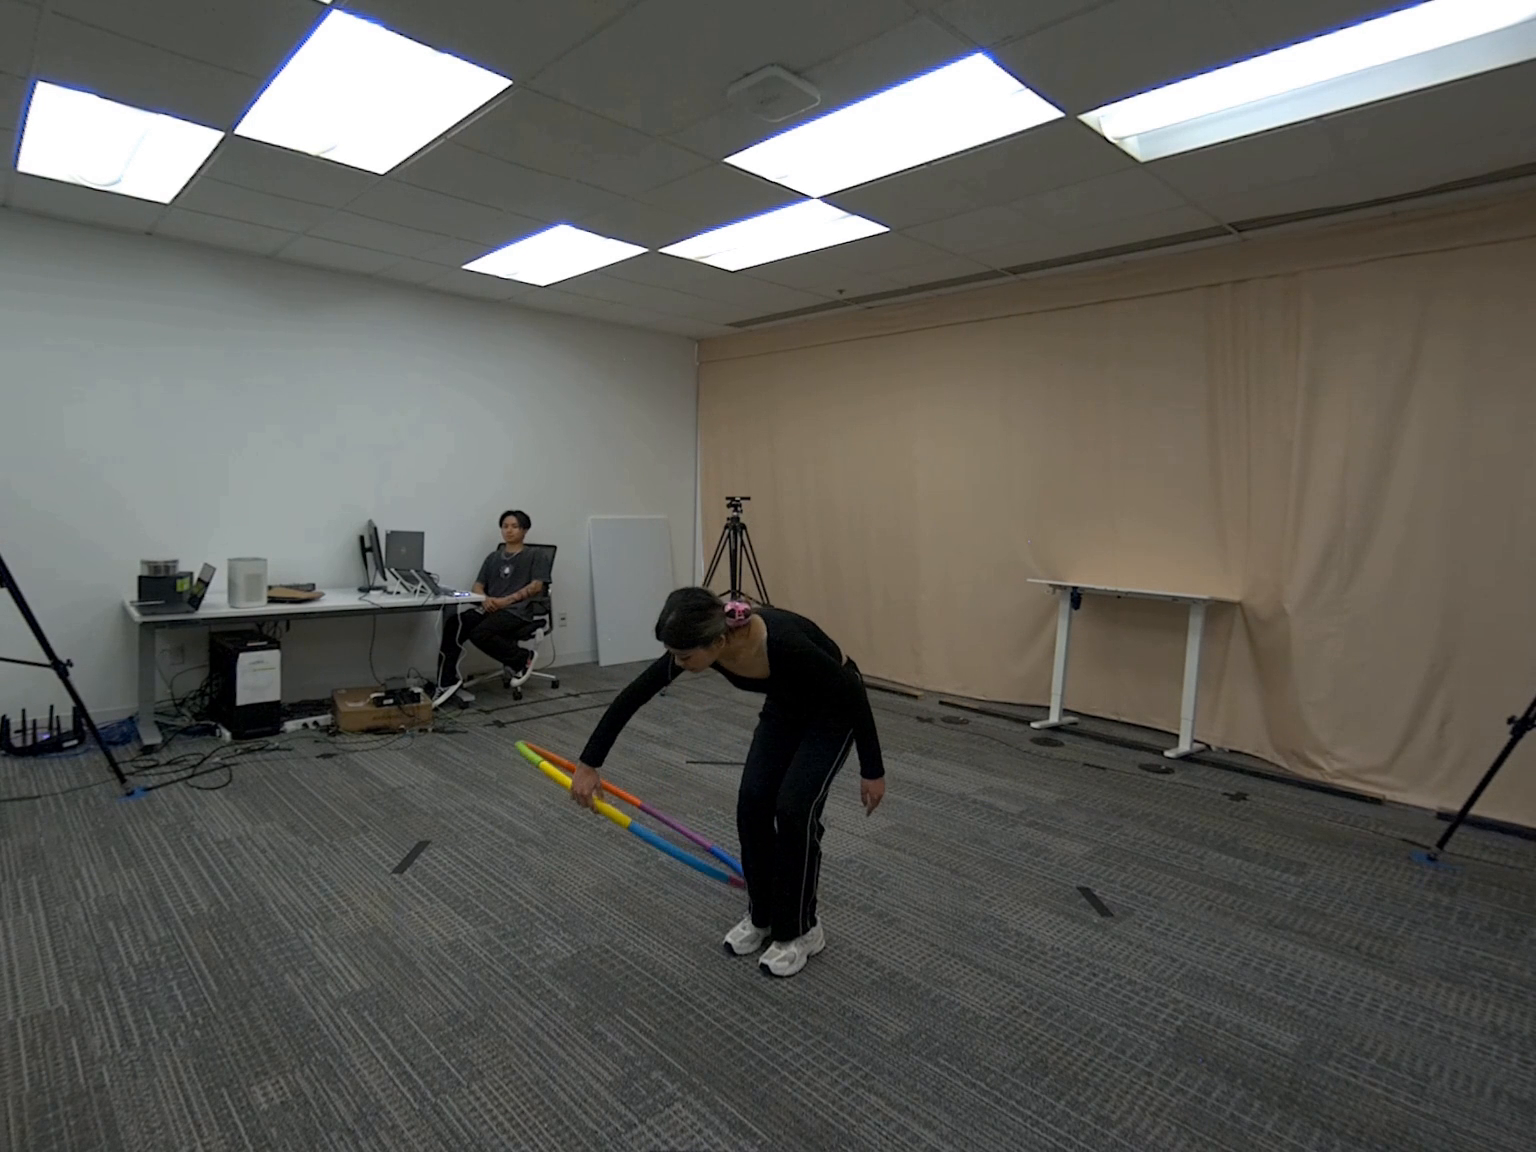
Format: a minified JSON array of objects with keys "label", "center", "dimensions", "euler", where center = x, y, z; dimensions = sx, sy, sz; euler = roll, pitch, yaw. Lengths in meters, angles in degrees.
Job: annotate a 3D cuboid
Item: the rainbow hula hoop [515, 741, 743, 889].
[{"label":"rainbow hula hoop","center":[-0.472,0.839,2.993],"dimensions":[0.986,0.035,0.968],"euler":[28,-13,6]}]
